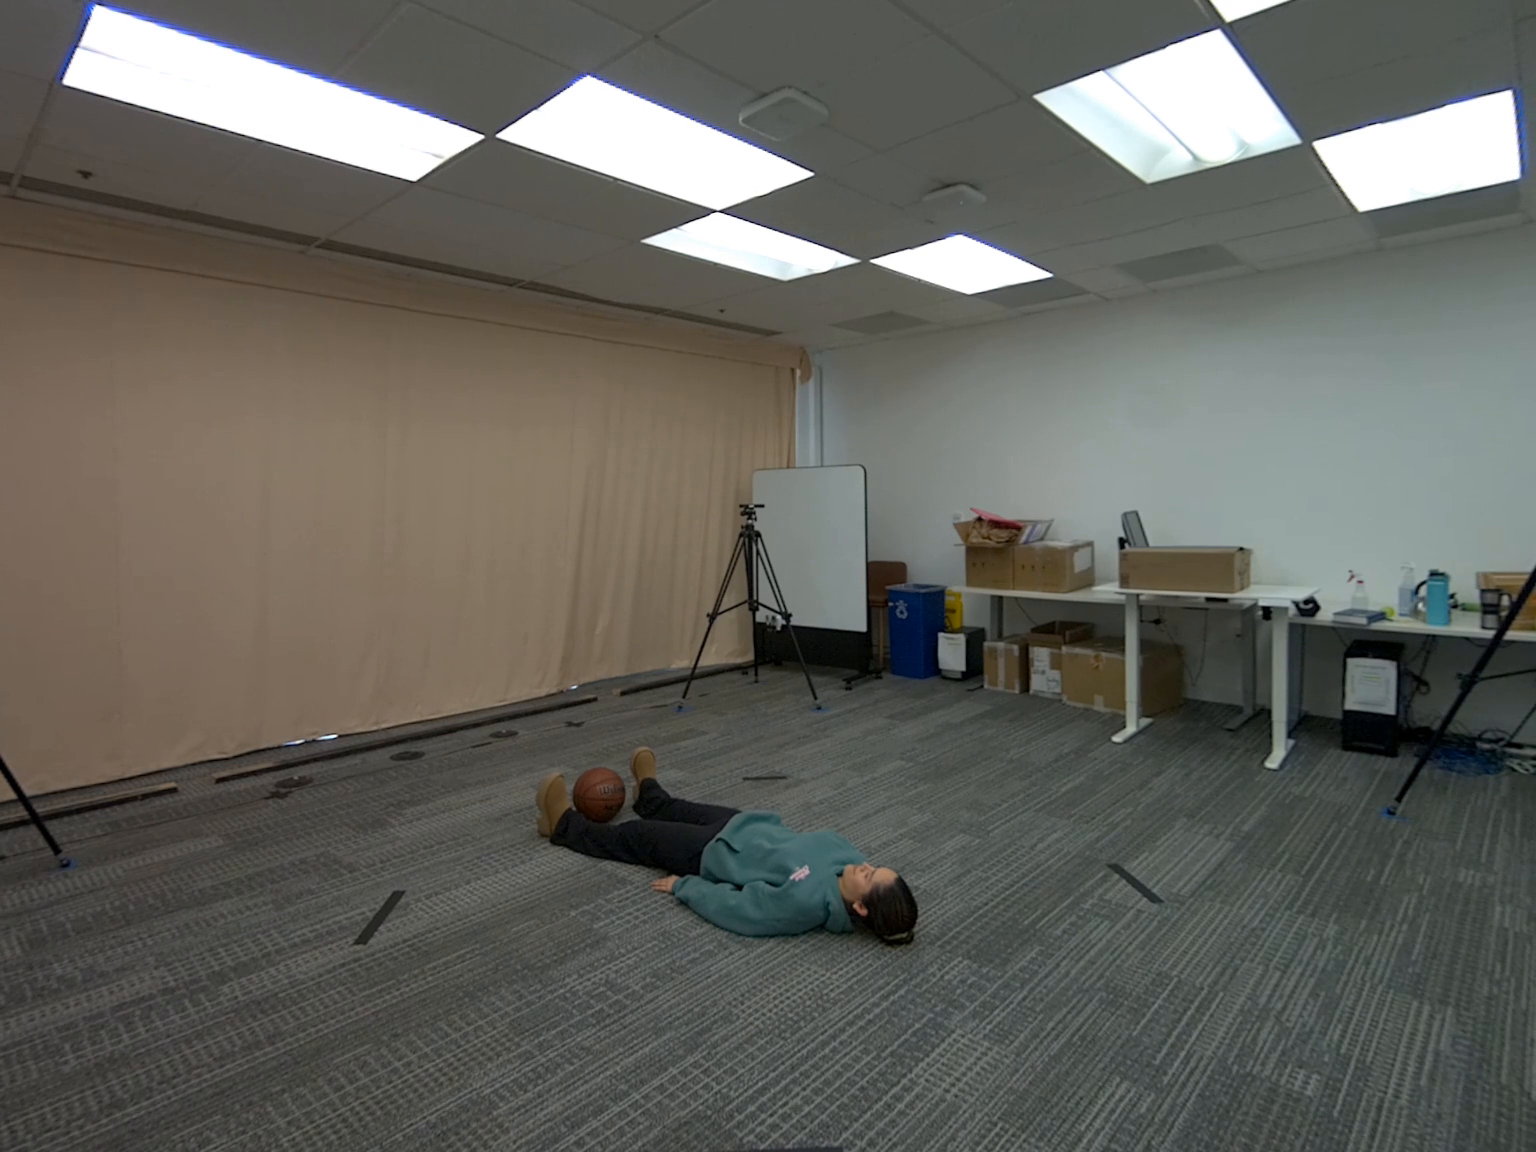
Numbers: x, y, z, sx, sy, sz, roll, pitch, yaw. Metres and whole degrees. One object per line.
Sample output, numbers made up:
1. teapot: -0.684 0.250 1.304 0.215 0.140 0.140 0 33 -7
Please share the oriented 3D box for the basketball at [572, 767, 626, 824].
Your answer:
1. basketball: -0.750 0.974 3.750 0.236 0.235 0.237 0 4 -2
